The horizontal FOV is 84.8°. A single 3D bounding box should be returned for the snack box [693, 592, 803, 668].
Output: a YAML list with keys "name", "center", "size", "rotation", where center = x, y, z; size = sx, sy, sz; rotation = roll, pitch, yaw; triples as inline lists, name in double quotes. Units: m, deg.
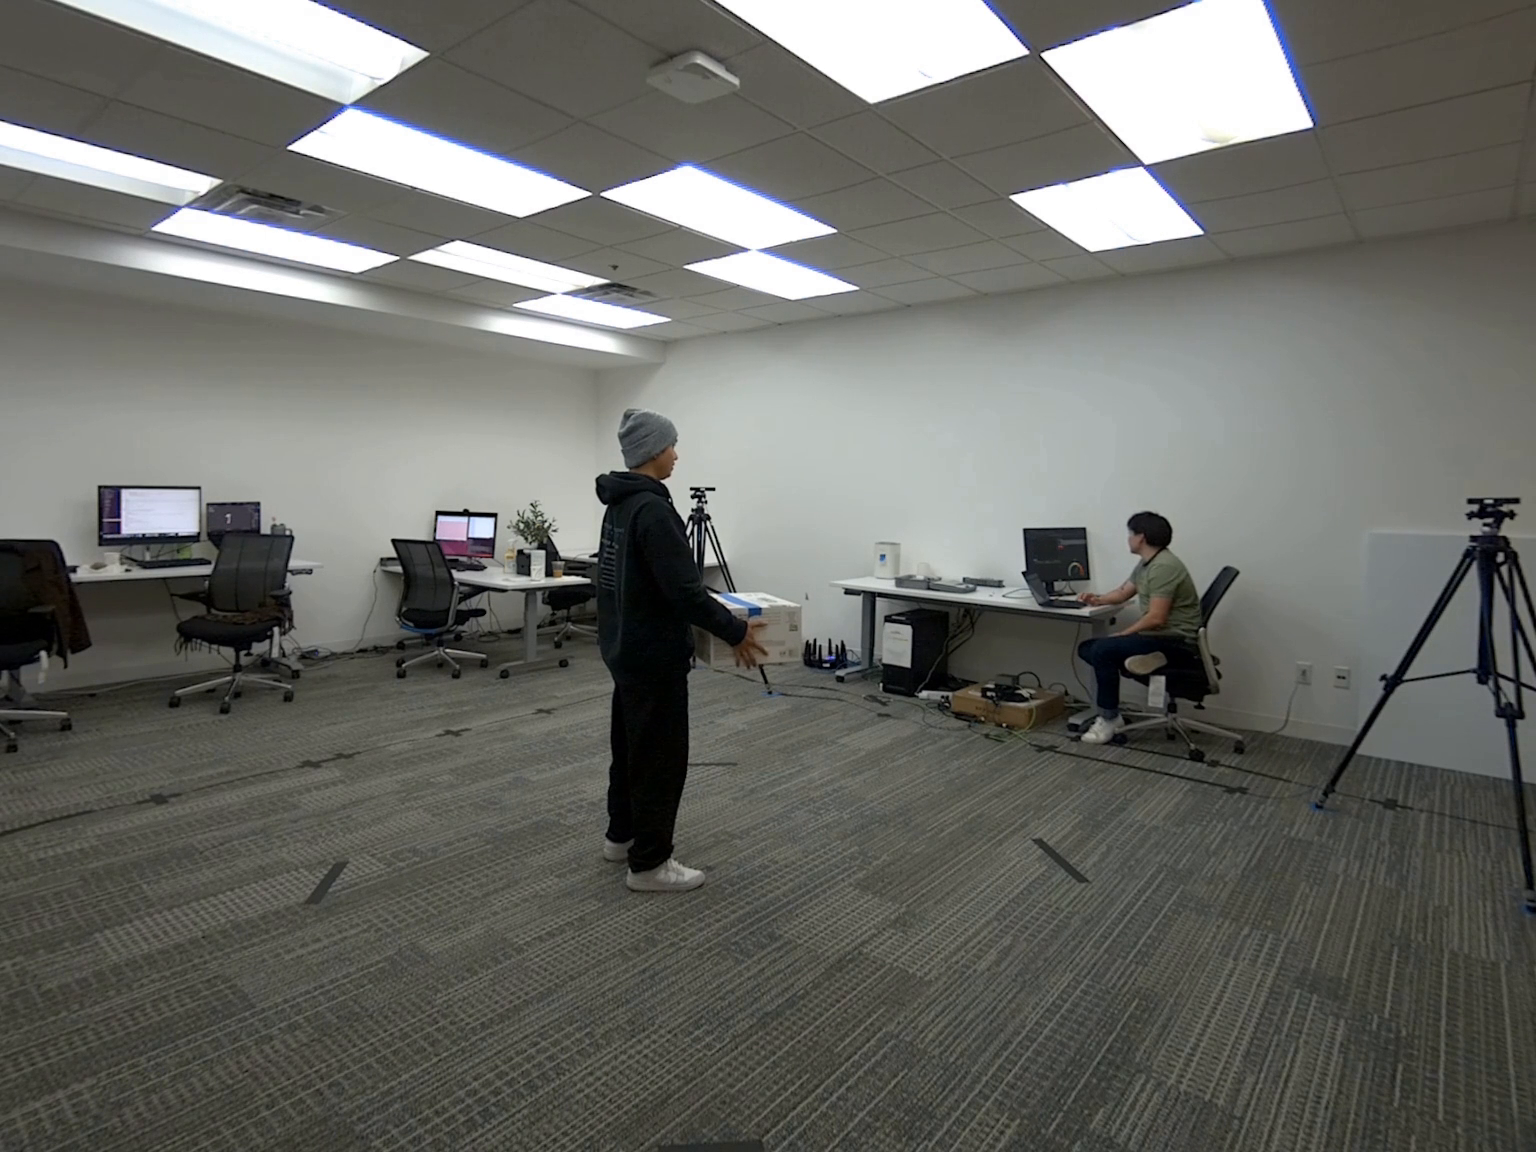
- name: "snack box"
  center: [-0.119, 0.192, 3.156]
  size: [0.334, 0.205, 0.414]
  rotation: [-2, 6, -19]
